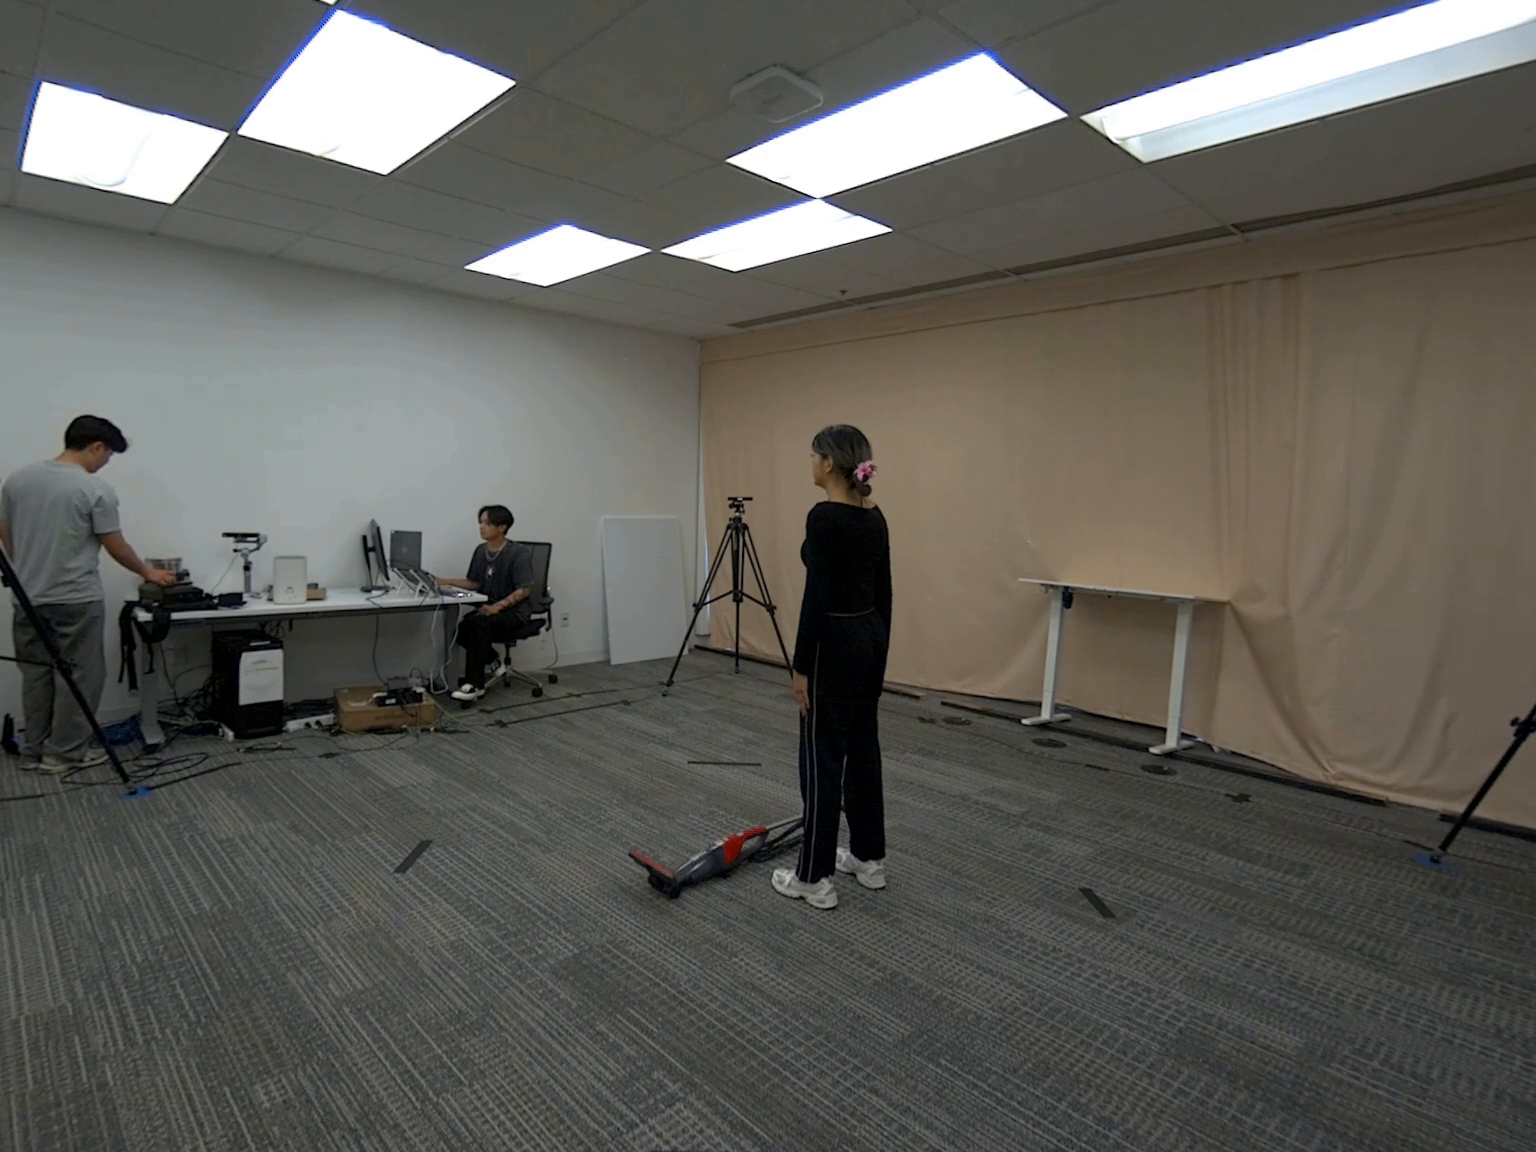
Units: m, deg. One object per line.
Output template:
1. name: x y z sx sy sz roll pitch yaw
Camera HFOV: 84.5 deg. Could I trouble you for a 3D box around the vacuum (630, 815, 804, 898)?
1. vacuum: -0.023 1.034 3.281 1.025 0.143 0.260 -2 11 -43
